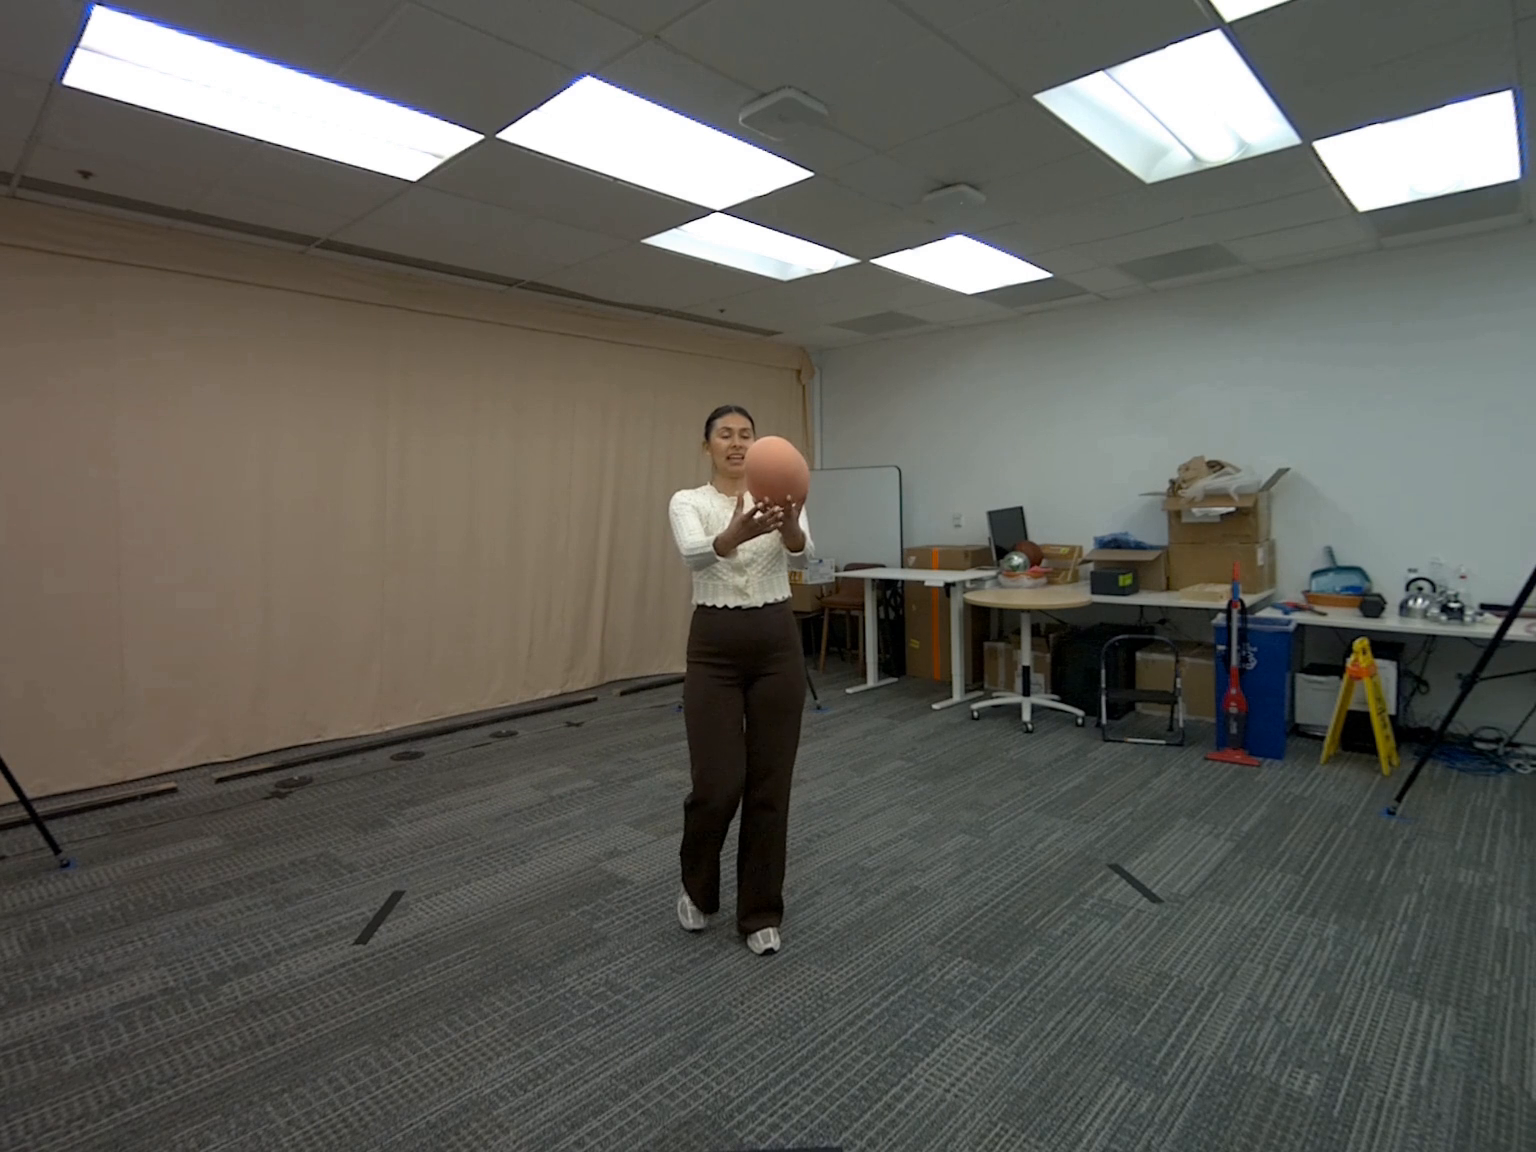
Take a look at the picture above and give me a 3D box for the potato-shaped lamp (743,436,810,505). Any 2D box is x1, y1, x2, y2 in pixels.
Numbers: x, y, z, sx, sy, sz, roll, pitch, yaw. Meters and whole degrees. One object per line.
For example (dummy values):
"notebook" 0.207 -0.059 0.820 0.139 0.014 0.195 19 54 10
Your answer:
"potato-shaped lamp" 0.018 -0.262 2.136 0.166 0.174 0.194 -11 -17 8
